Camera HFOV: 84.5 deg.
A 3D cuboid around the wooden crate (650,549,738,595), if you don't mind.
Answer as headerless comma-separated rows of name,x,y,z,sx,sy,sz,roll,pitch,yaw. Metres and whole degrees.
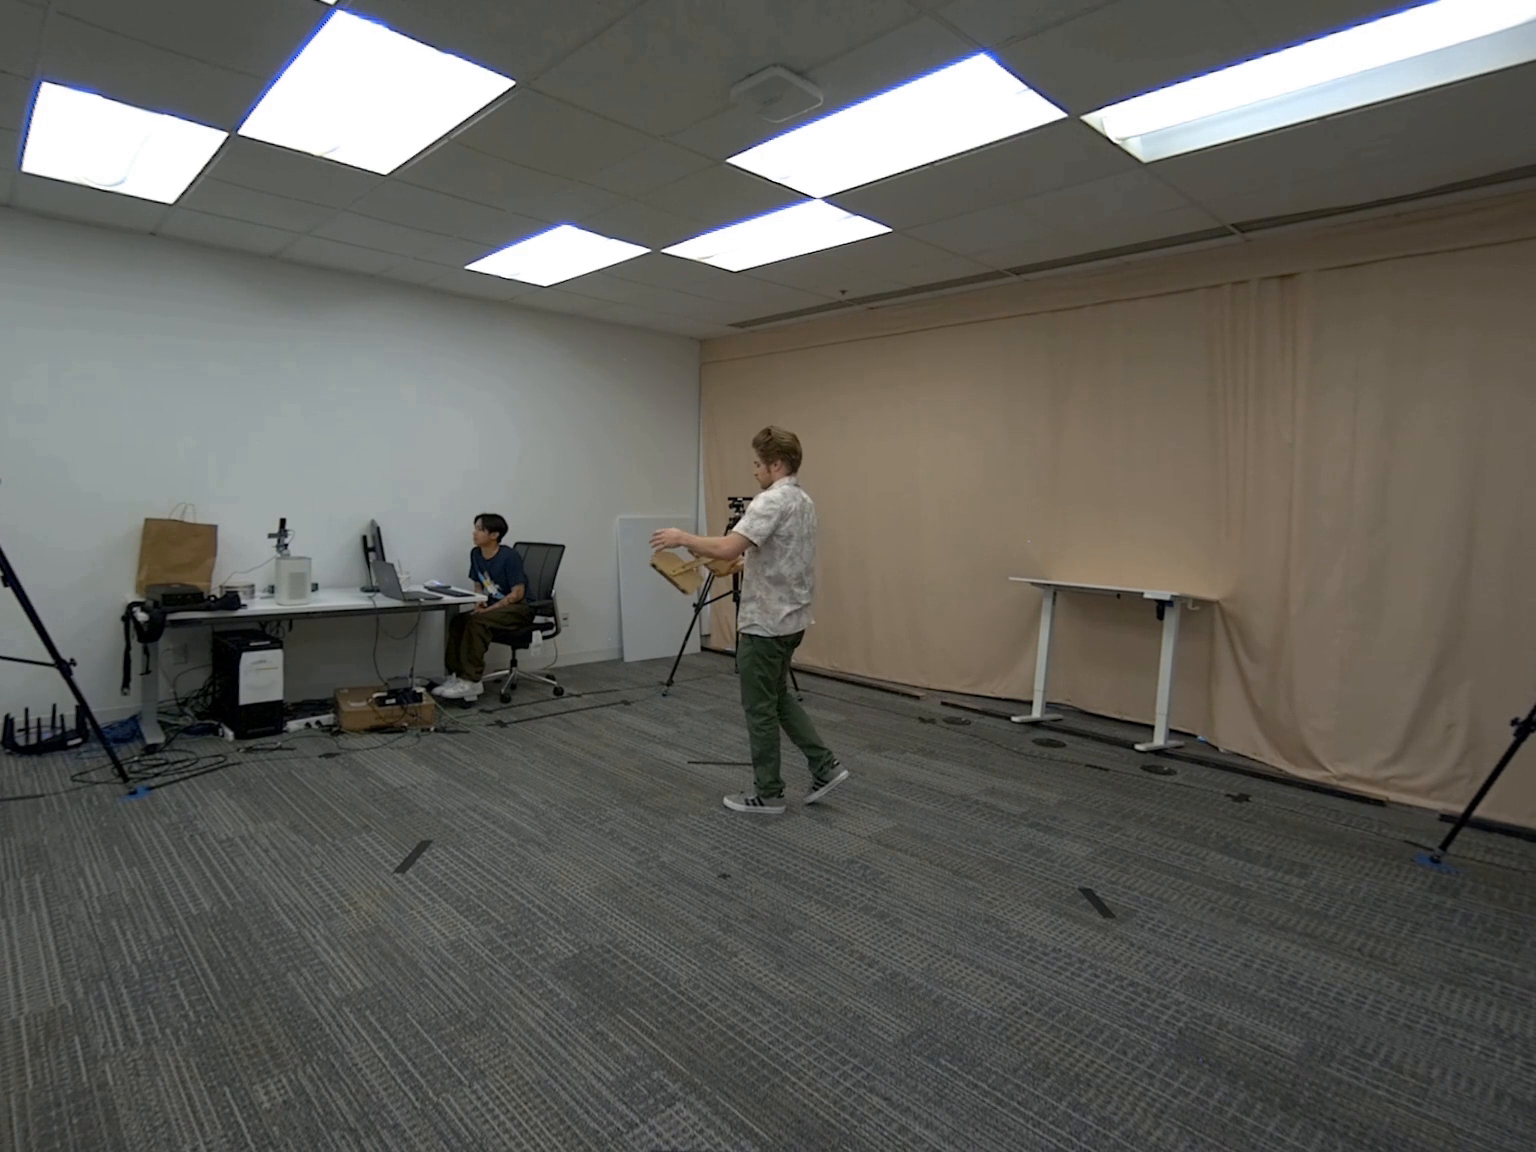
wooden crate,-0.349,-0.080,3.923,0.302,0.273,0.325,41,-4,-2
